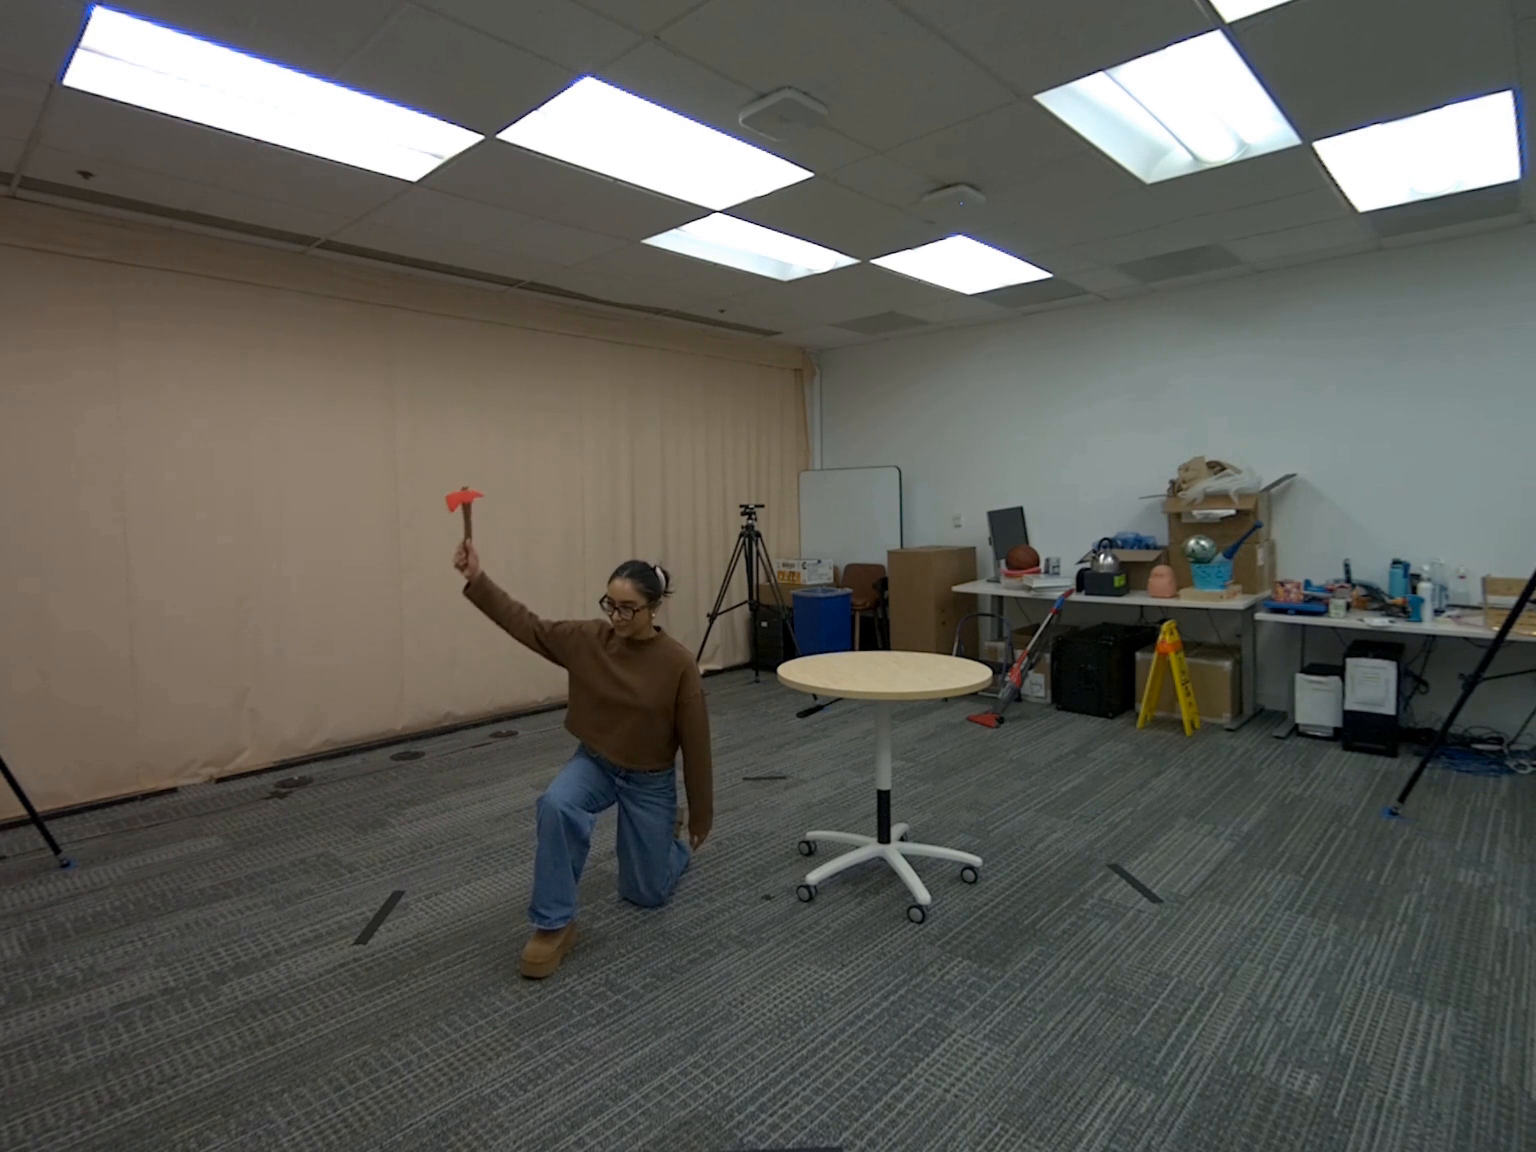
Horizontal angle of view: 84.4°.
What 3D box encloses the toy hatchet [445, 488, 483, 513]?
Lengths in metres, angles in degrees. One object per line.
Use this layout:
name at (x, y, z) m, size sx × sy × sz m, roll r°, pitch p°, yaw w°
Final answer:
toy hatchet at (-1.000, -0.140, 2.753) m, size 0.030 × 0.271 × 0.126 m, roll -3°, pitch -16°, yaw 45°
